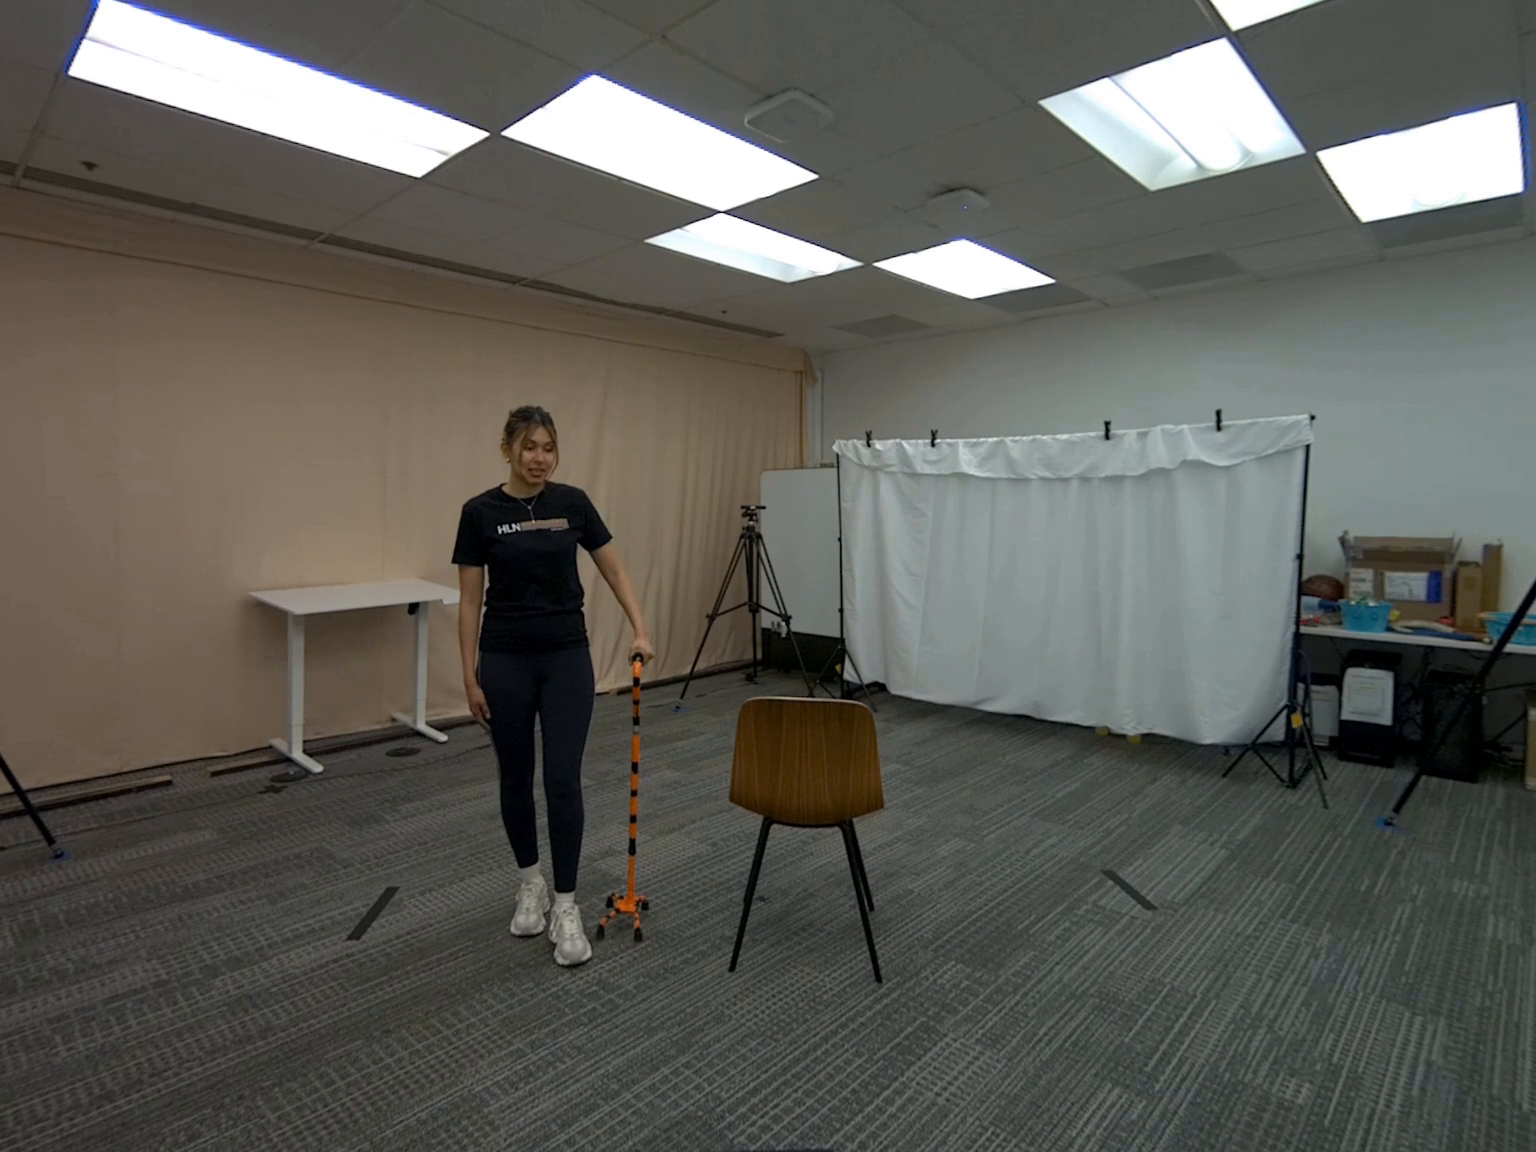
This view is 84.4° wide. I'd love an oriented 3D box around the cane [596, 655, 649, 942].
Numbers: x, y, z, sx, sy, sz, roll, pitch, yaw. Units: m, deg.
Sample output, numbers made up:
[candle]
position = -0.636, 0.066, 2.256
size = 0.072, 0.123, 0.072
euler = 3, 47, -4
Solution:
[cane]
position = -0.447, 0.706, 2.726
size = 0.152, 0.905, 0.207
euler = 3, 5, 0
